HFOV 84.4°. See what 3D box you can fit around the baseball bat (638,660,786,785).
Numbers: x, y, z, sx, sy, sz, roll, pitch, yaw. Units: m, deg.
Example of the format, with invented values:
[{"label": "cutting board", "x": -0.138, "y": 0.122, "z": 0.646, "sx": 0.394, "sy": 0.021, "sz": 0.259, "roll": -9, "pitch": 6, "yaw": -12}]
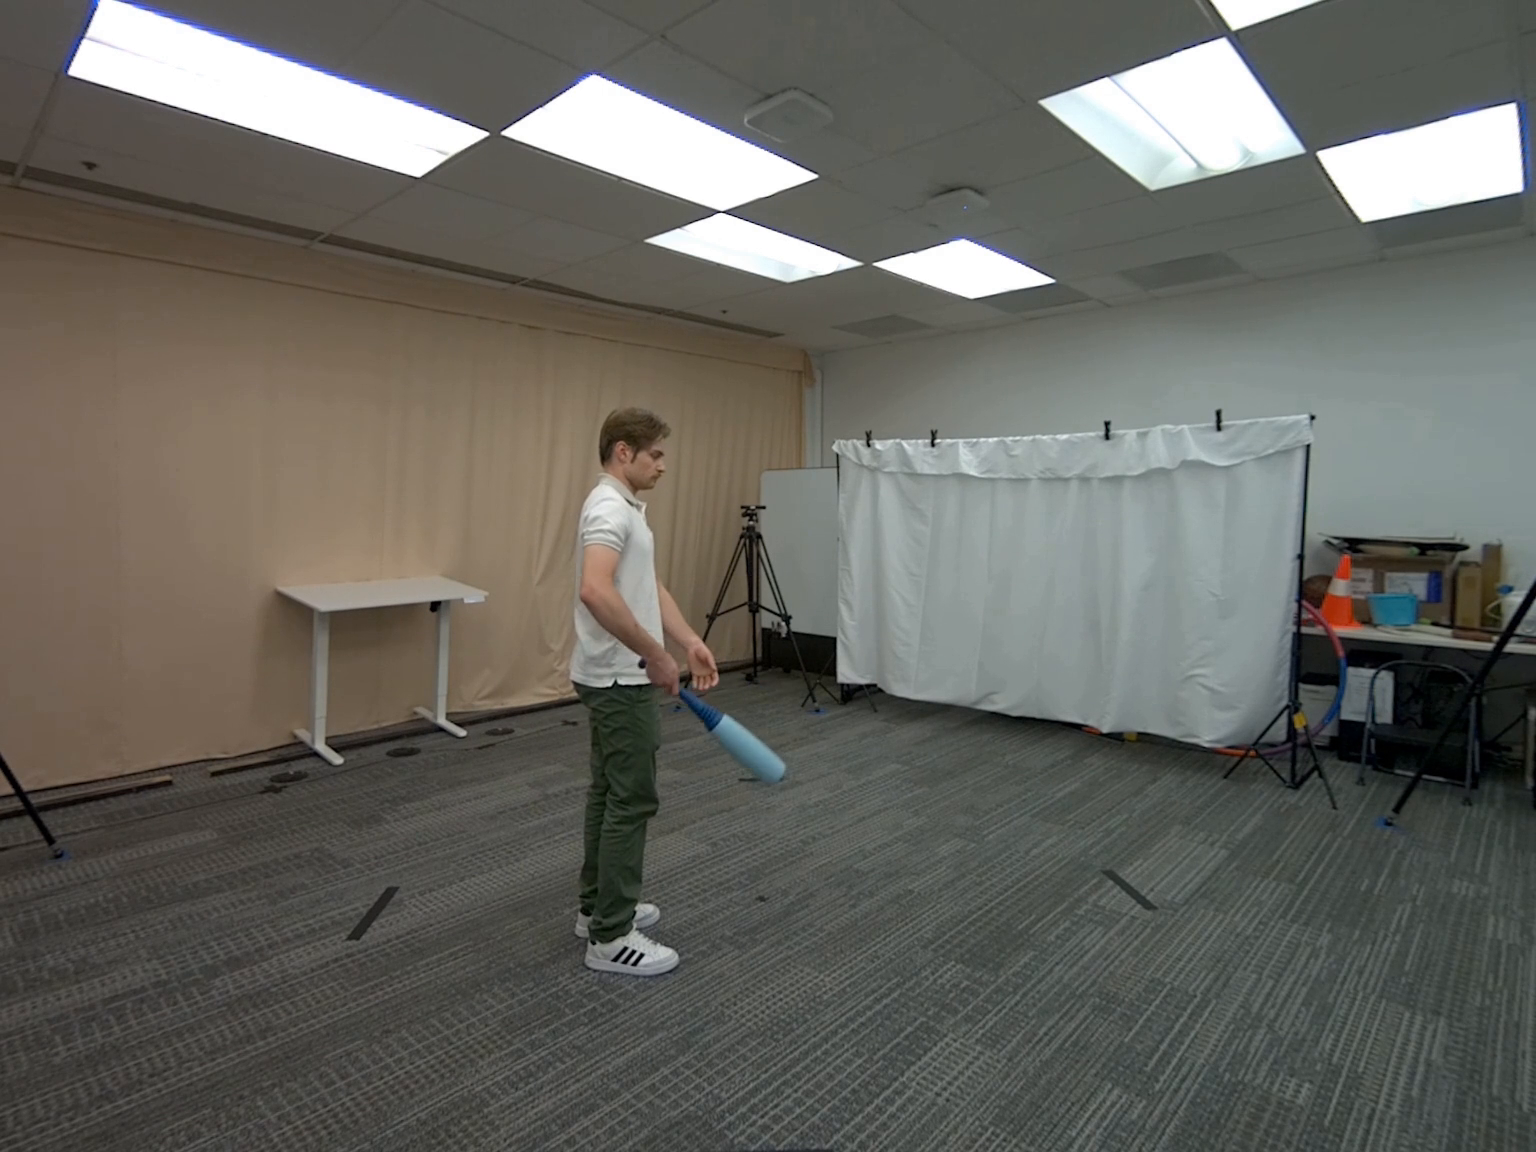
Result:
[{"label": "baseball bat", "x": -0.184, "y": 0.423, "z": 2.474, "sx": 0.541, "sy": 0.089, "sz": 0.089, "roll": 42, "pitch": 1, "yaw": -2}]
